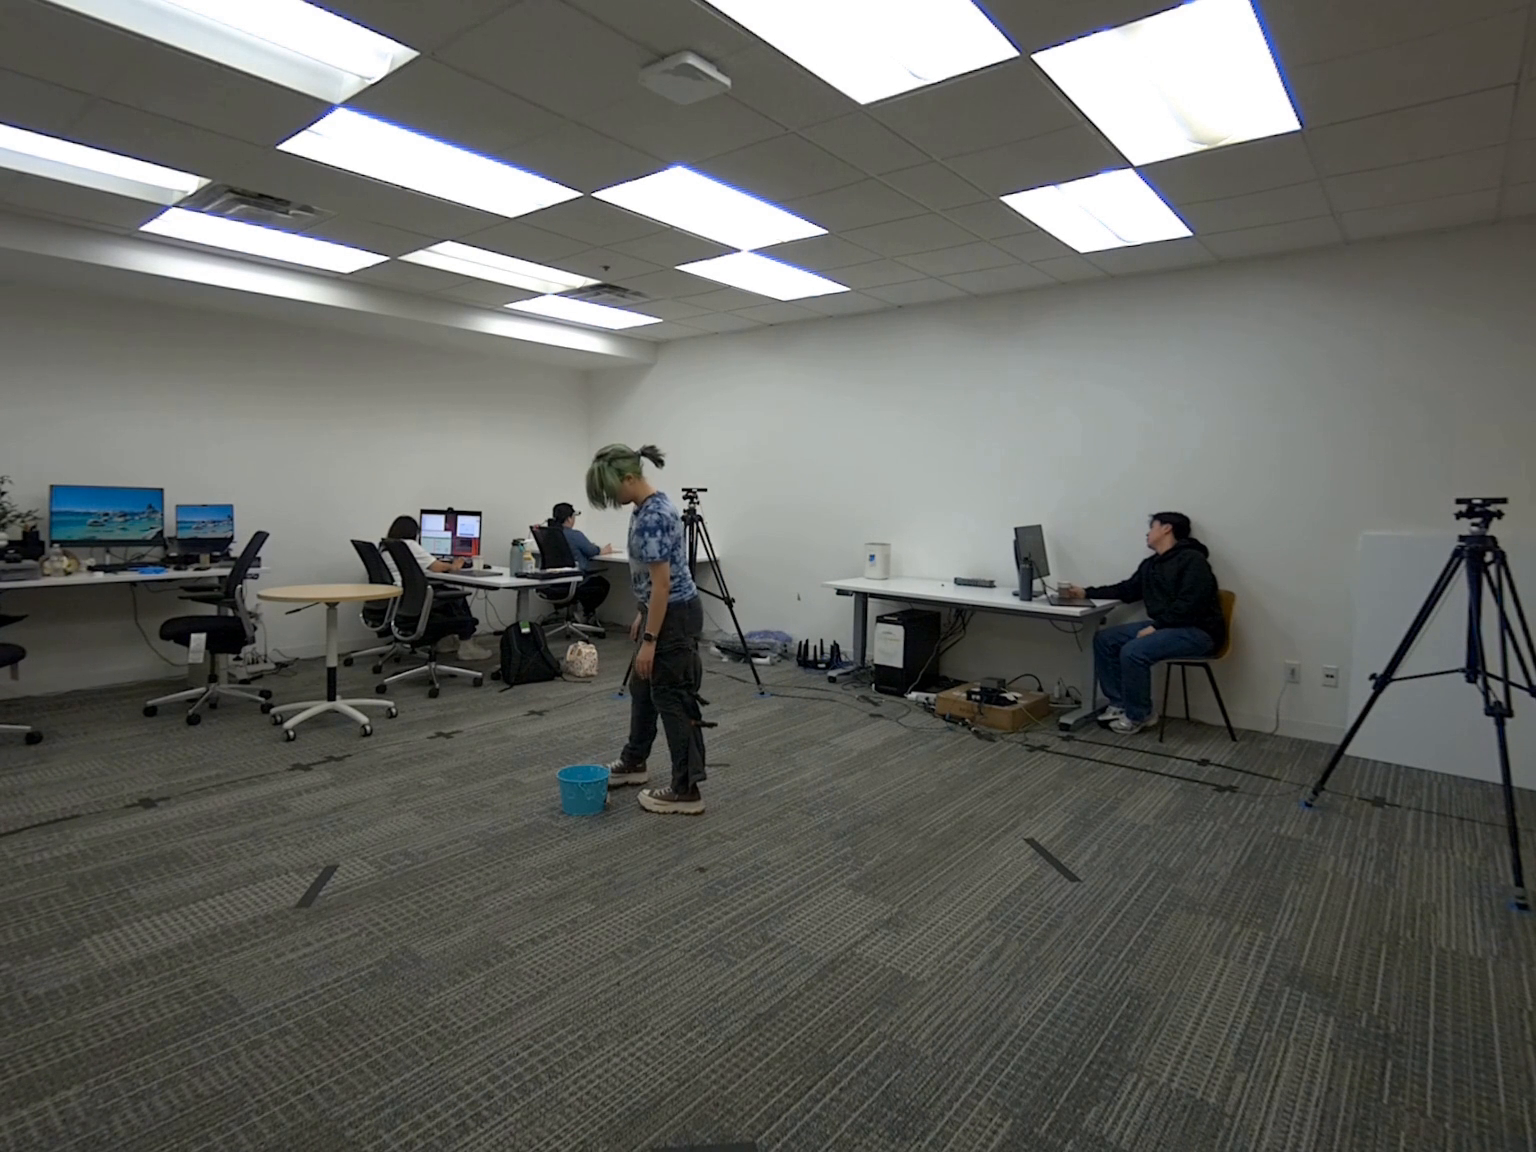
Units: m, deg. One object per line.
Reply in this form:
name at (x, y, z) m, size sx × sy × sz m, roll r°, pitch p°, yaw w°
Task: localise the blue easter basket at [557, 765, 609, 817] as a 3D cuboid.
blue easter basket at (-0.810, 0.927, 3.697) m, size 0.243 × 0.155 × 0.245 m, roll 0°, pitch 5°, yaw -2°
